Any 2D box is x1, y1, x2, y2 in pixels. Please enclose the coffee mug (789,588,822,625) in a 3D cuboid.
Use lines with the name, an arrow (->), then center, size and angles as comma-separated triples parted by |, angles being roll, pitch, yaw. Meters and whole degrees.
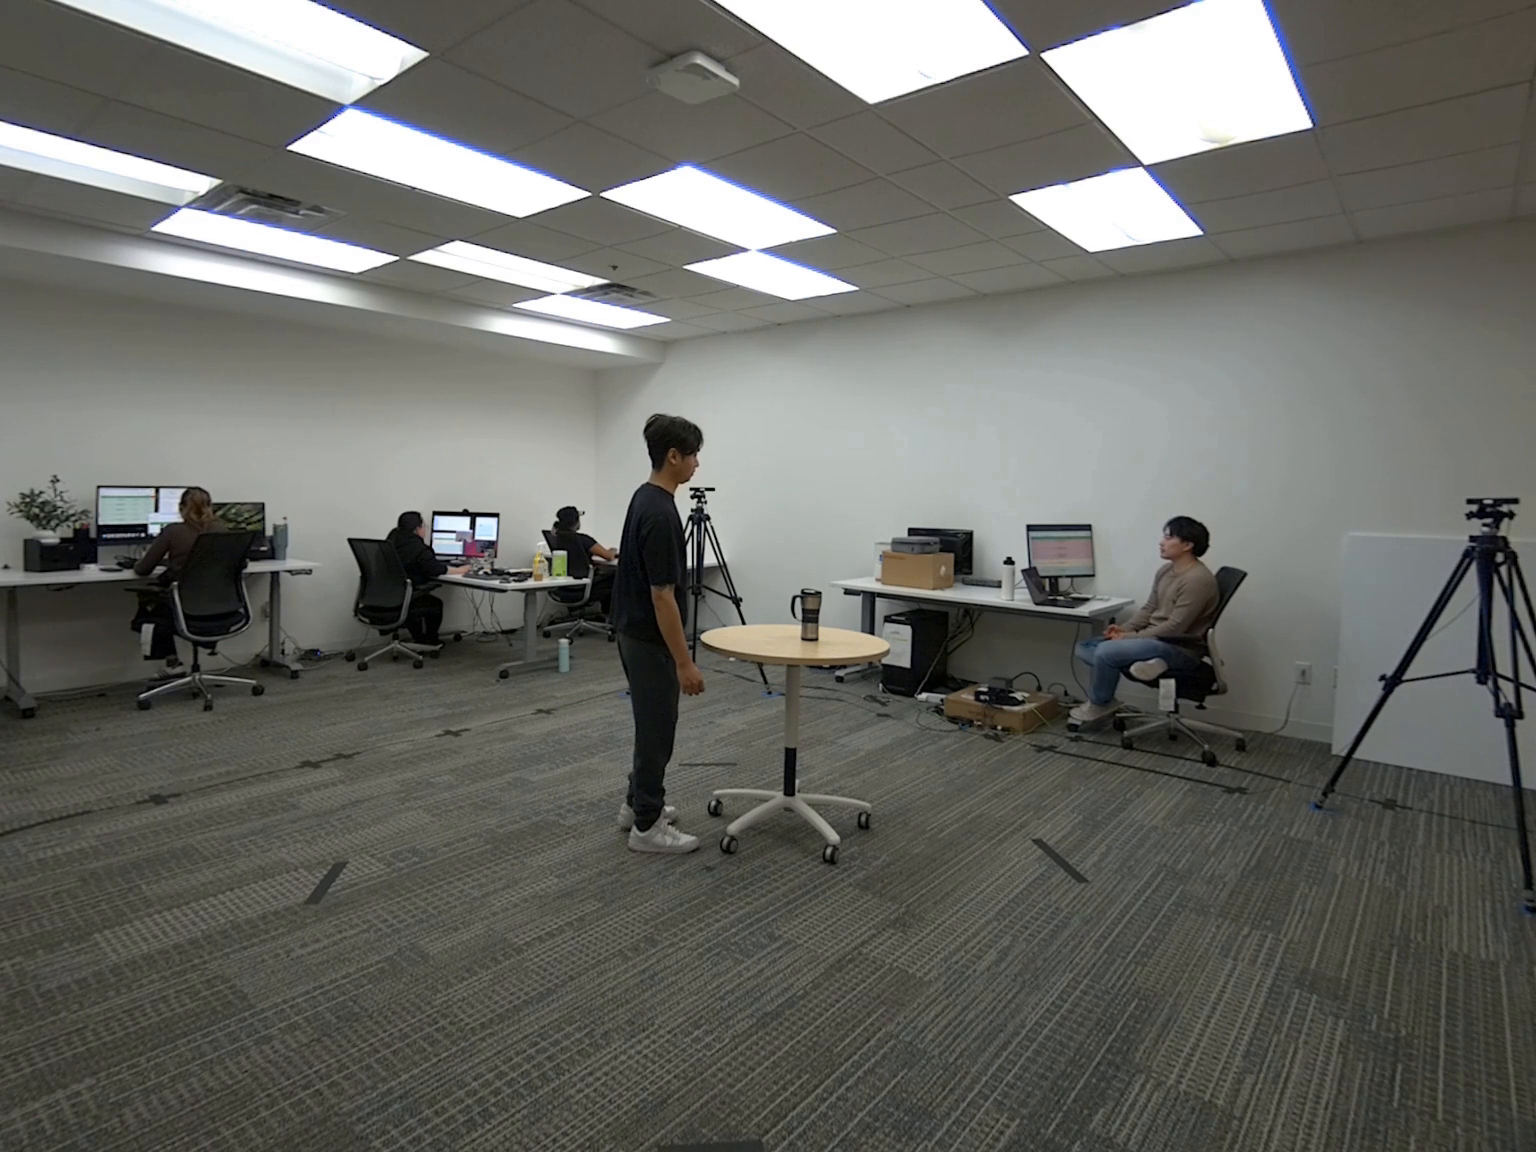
coffee mug -> 0.145, 0.158, 3.471 | 0.126, 0.201, 0.086 | 7, 8, 30
